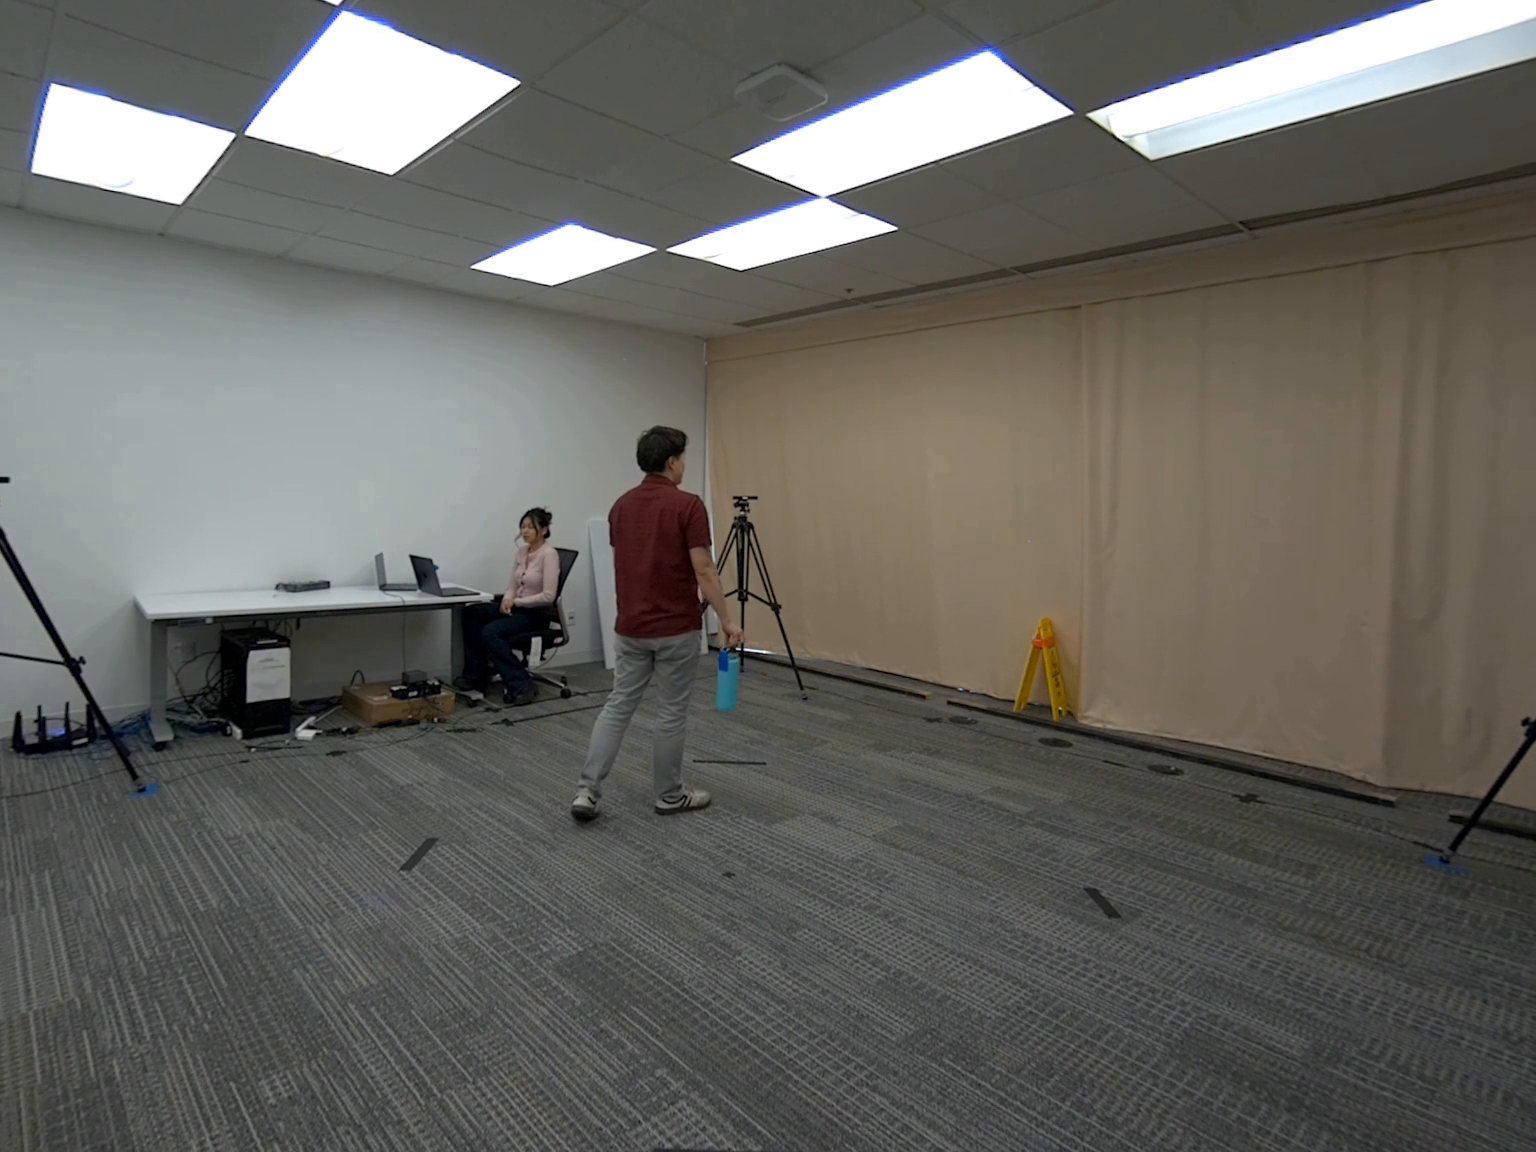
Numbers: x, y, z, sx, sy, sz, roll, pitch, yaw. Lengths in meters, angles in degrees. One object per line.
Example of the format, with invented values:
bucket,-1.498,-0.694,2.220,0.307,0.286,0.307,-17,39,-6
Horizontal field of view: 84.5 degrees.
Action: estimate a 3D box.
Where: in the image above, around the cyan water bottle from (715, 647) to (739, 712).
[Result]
cyan water bottle,-0.190,0.433,3.609,0.092,0.282,0.093,4,9,-2
